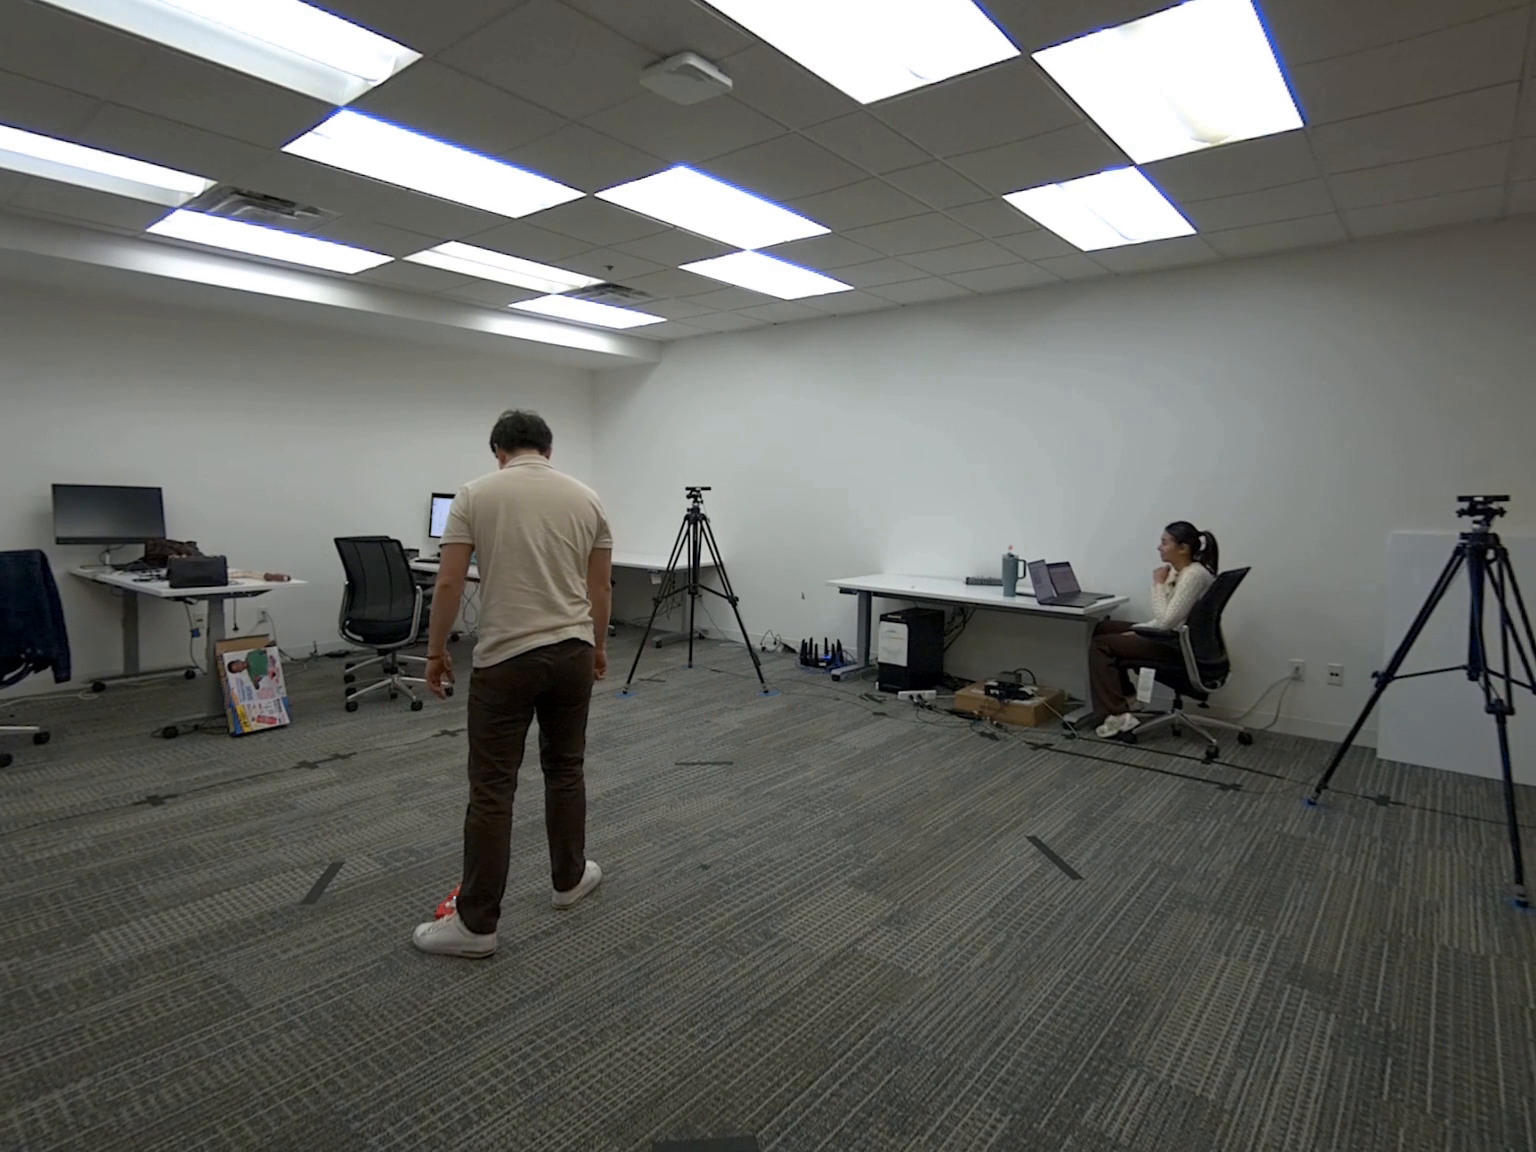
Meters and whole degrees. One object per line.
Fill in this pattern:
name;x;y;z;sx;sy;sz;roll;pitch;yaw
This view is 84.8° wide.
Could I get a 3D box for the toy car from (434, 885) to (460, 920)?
toy car;-1.004;1.063;2.754;0.131;0.084;0.251;1;-7;5
